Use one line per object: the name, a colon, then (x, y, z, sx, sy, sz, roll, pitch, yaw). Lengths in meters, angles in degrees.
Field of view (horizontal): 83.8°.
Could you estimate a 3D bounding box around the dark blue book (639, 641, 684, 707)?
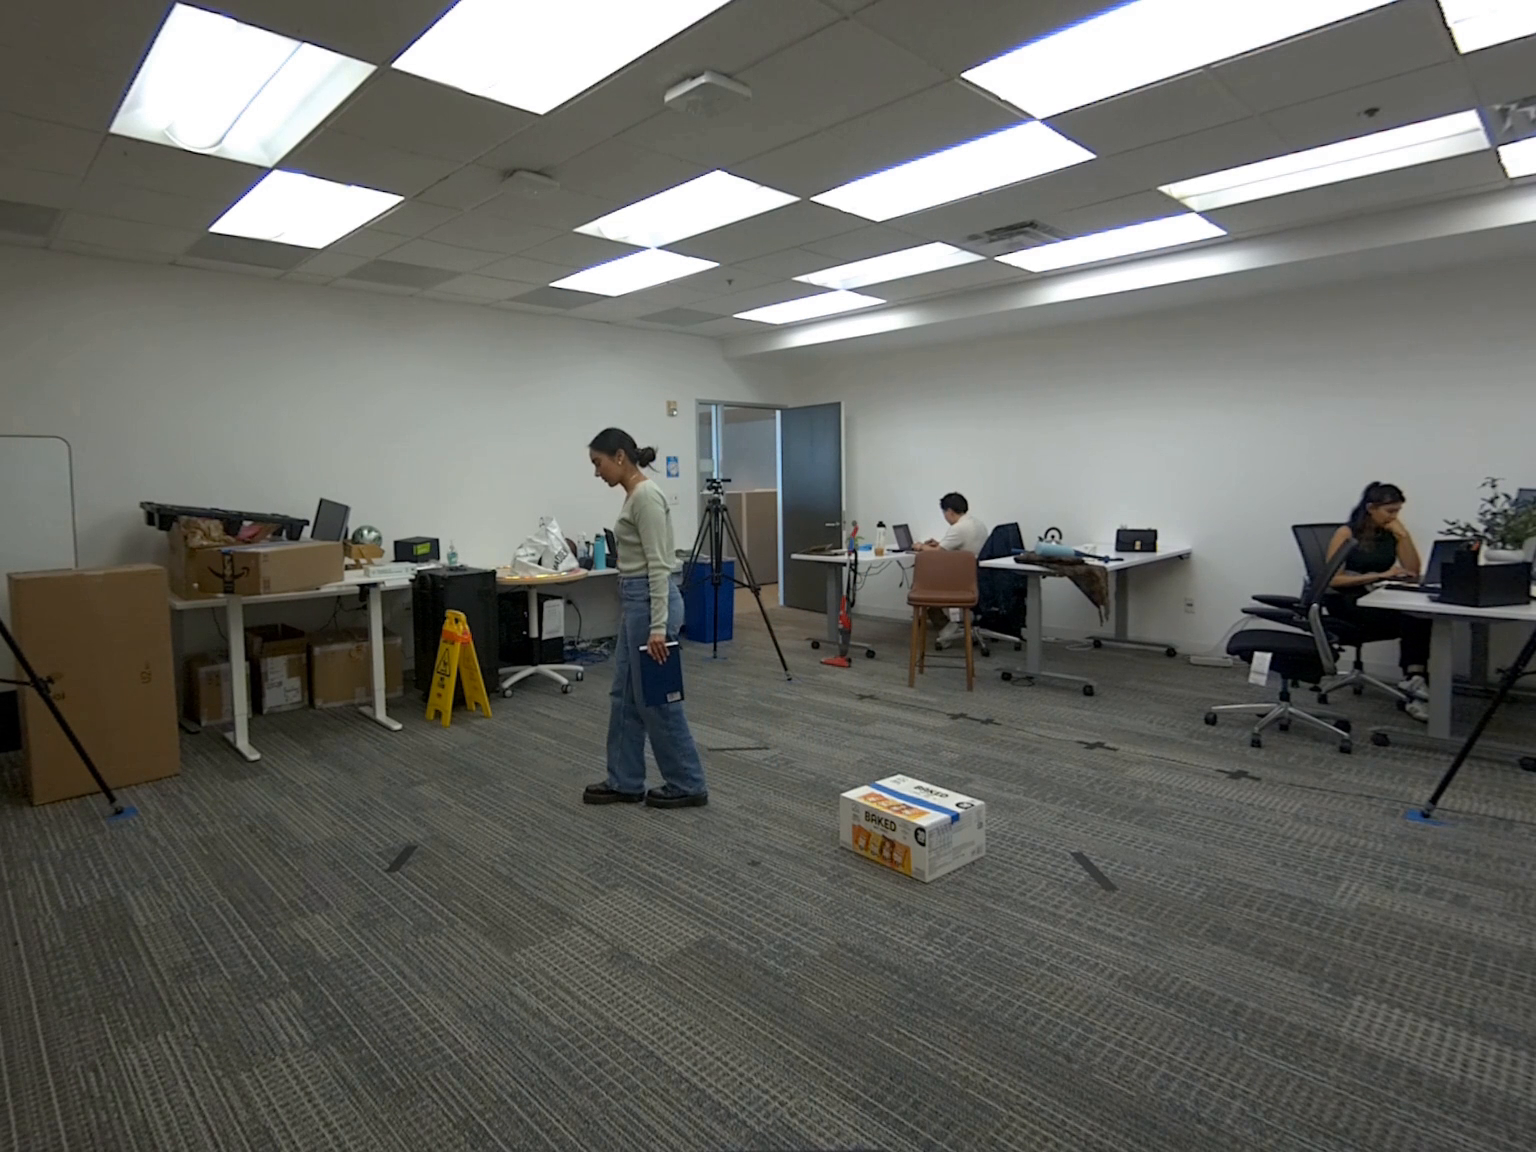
dark blue book: (-0.452, 0.404, 3.464, 0.162, 0.243, 0.046, -7, 9, -7)
